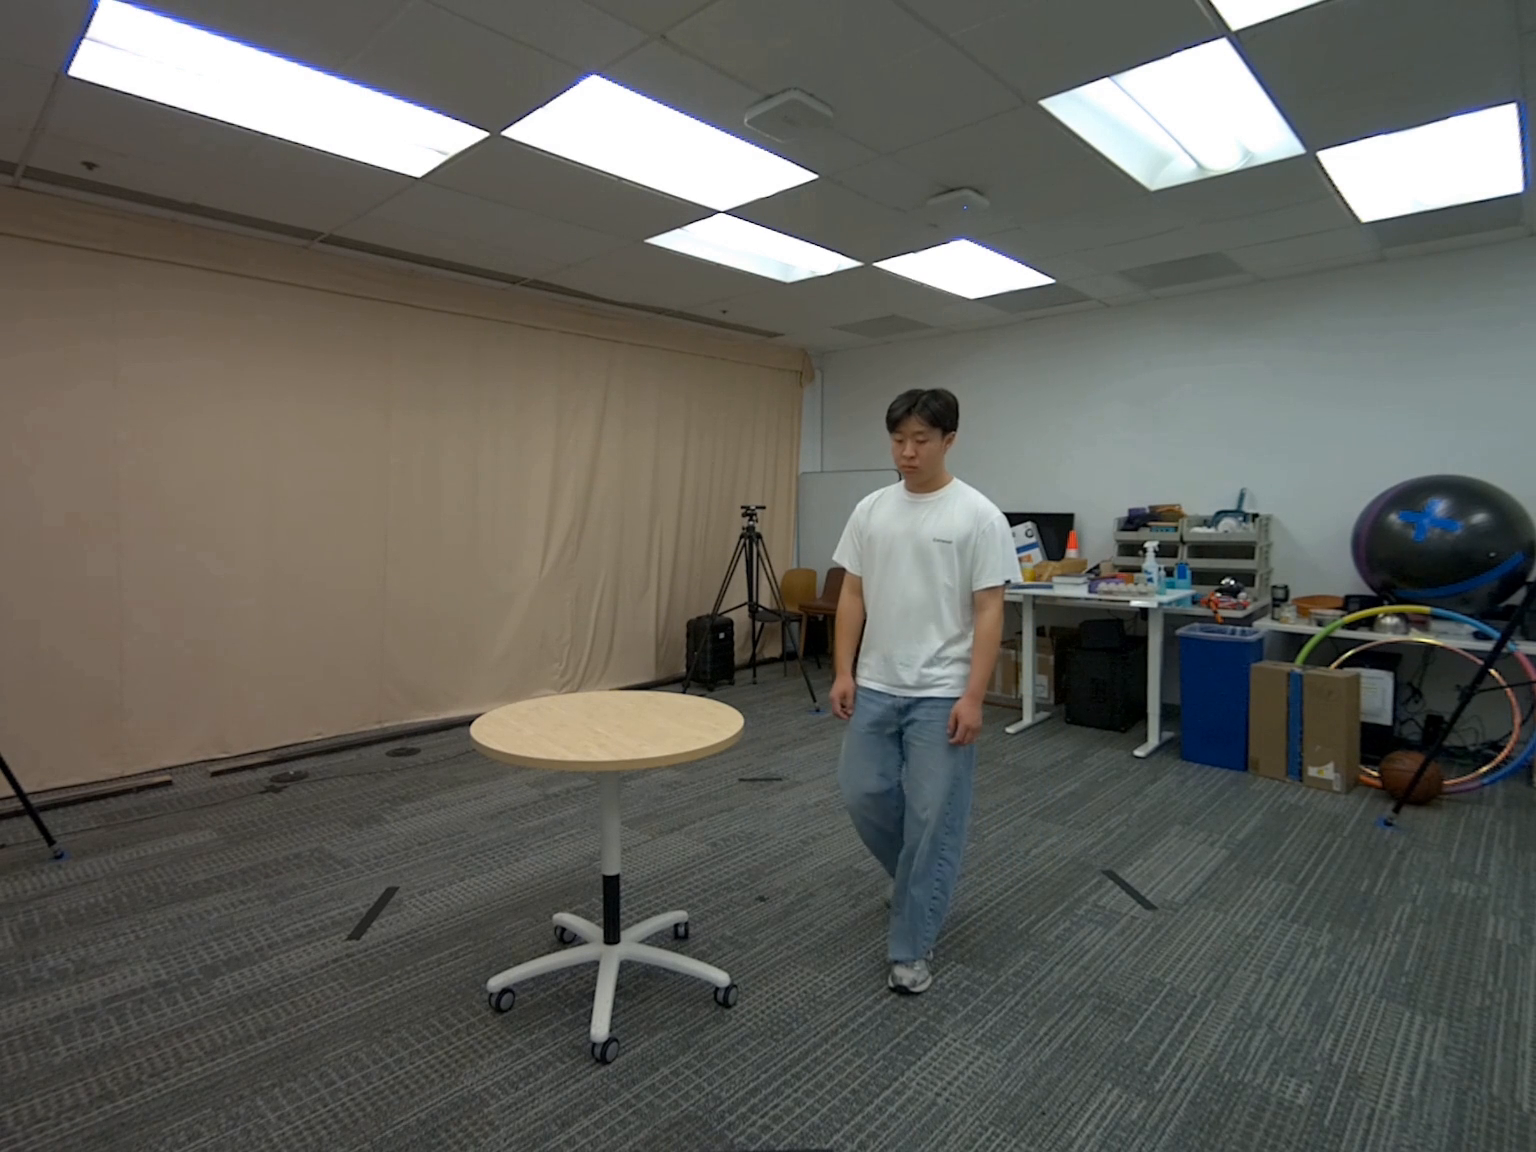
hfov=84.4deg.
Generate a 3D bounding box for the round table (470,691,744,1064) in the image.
[{"bbox_3d":[-0.443,0.811,2.413,0.763,0.792,0.766,0,4,-2],"label":"round table"}]
